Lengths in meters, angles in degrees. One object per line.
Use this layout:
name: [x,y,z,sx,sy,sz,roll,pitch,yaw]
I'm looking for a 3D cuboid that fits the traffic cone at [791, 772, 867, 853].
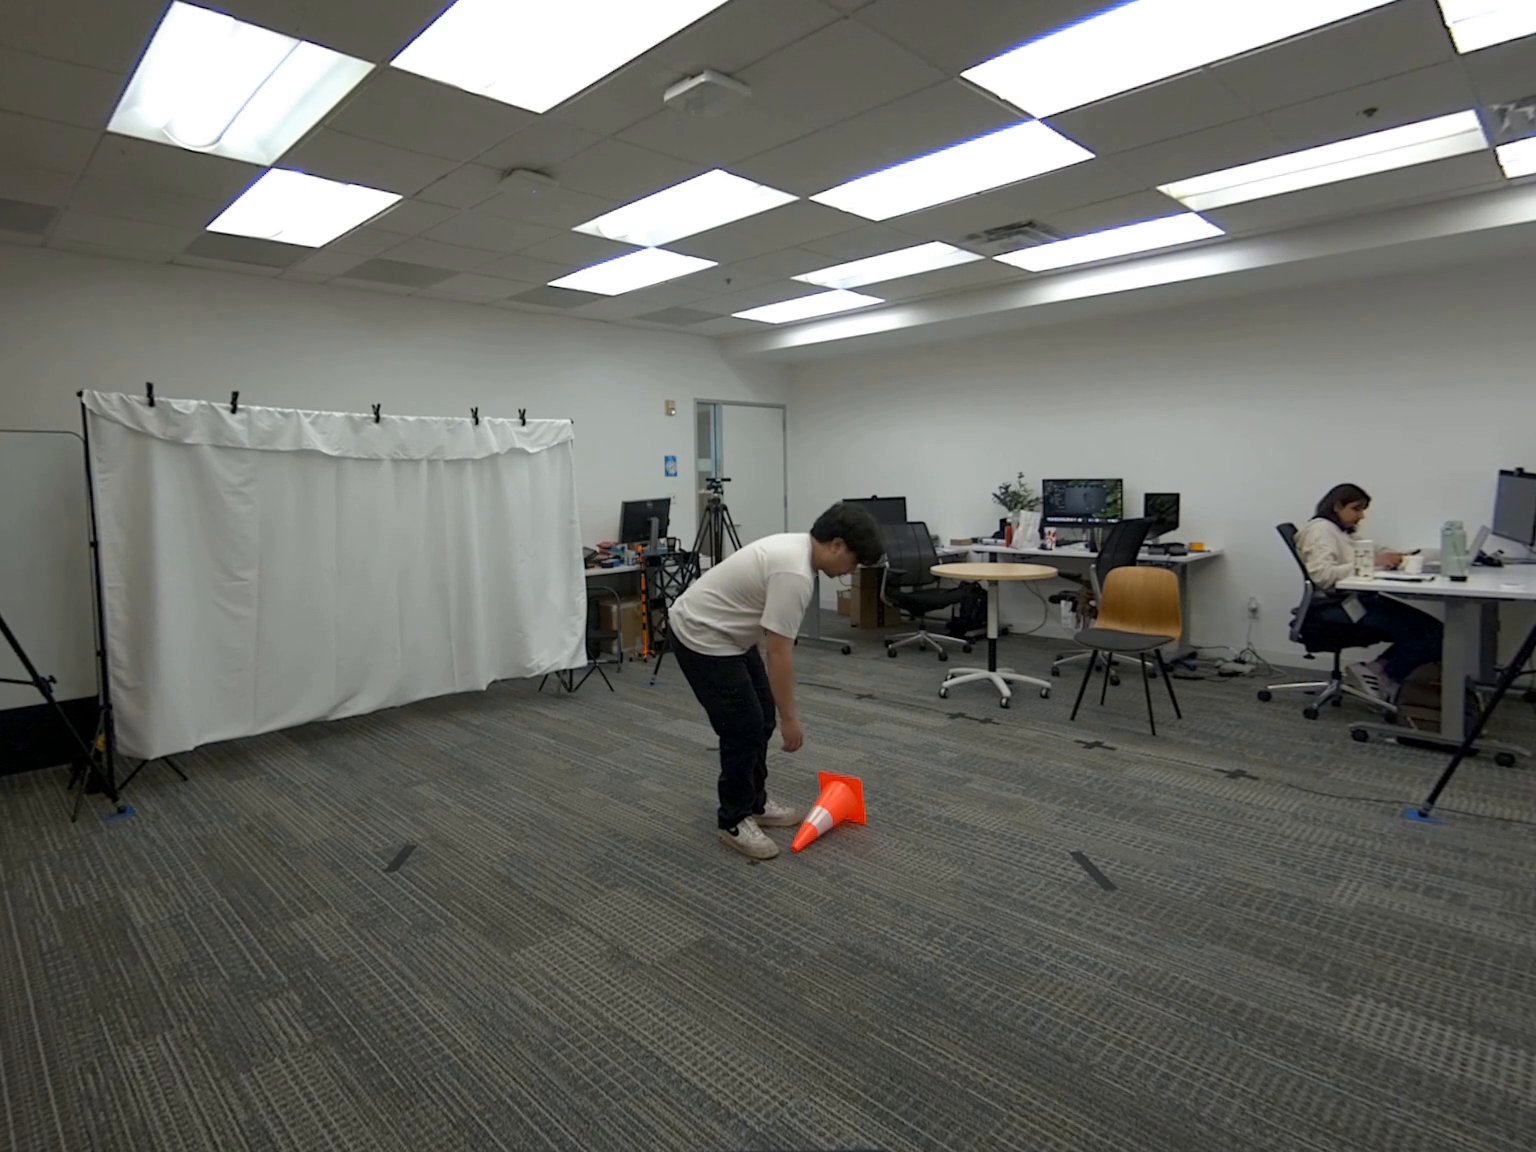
traffic cone: [0.199,0.957,3.324,0.211,0.200,0.379,1,20,34]
